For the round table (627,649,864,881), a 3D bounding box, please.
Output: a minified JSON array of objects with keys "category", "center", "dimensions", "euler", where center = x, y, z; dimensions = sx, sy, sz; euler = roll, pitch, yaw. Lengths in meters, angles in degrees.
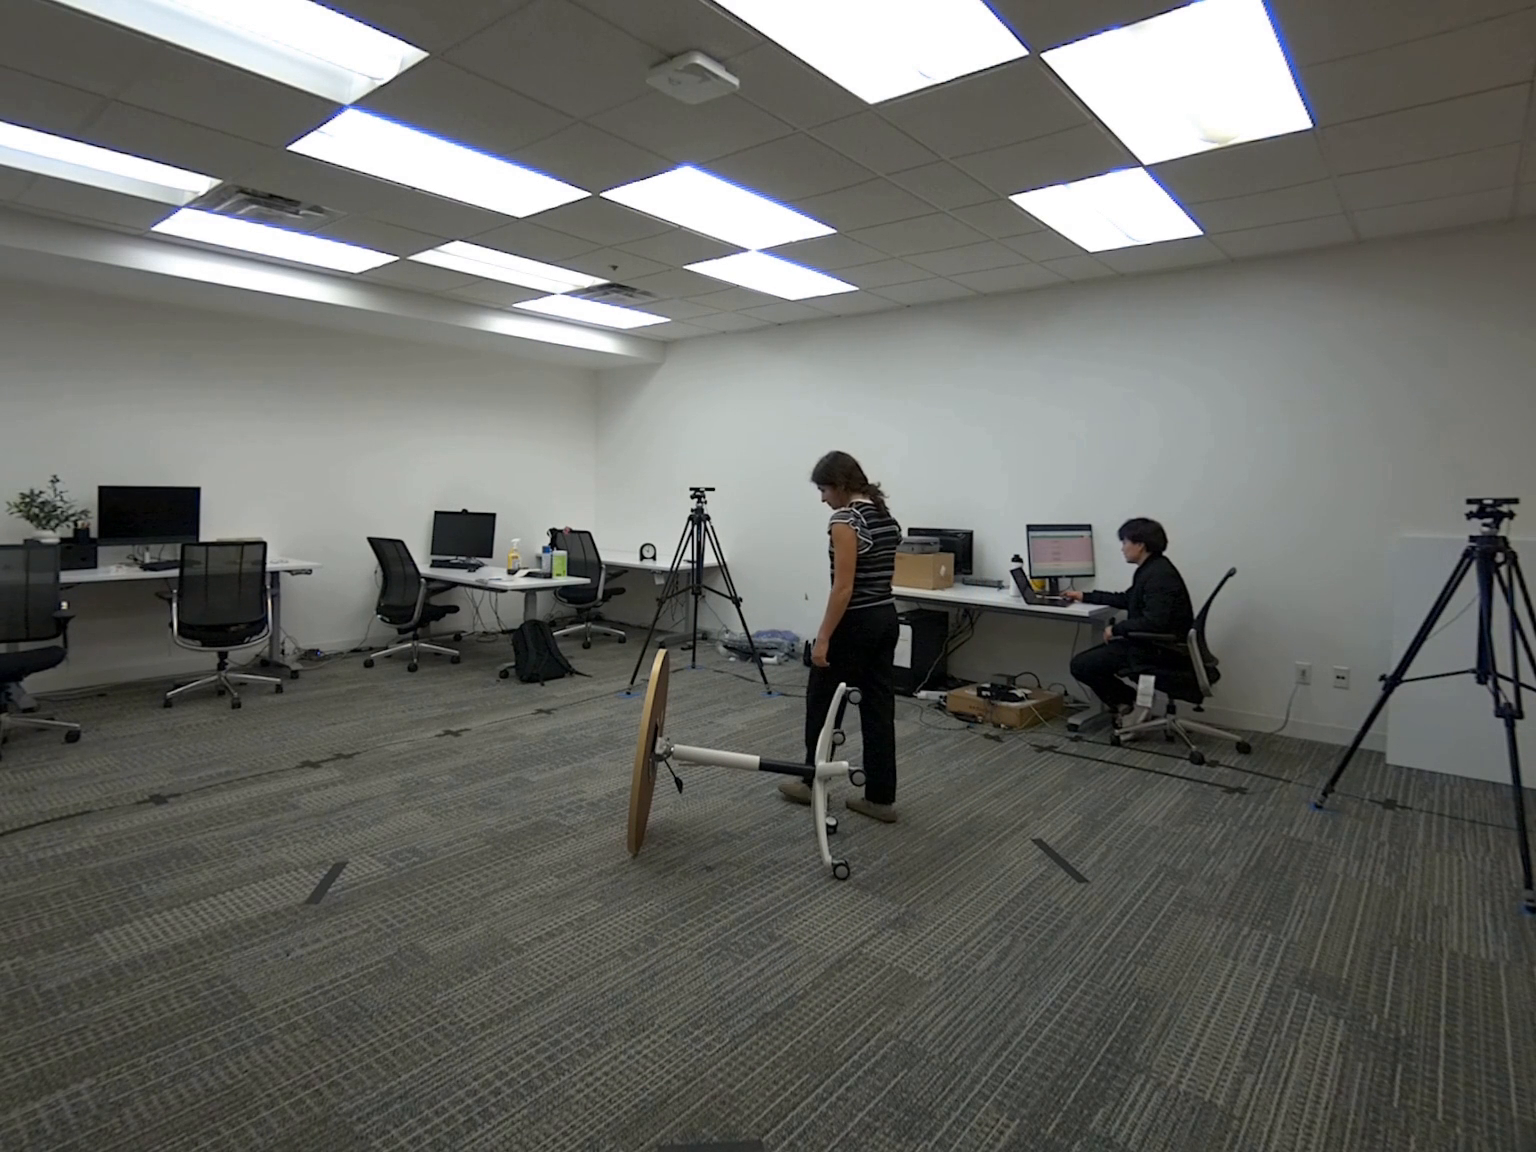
[{"category":"round table","center":[-0.082,0.712,3.280],"dimensions":[0.788,0.783,0.787],"euler":[7,4,0]}]
